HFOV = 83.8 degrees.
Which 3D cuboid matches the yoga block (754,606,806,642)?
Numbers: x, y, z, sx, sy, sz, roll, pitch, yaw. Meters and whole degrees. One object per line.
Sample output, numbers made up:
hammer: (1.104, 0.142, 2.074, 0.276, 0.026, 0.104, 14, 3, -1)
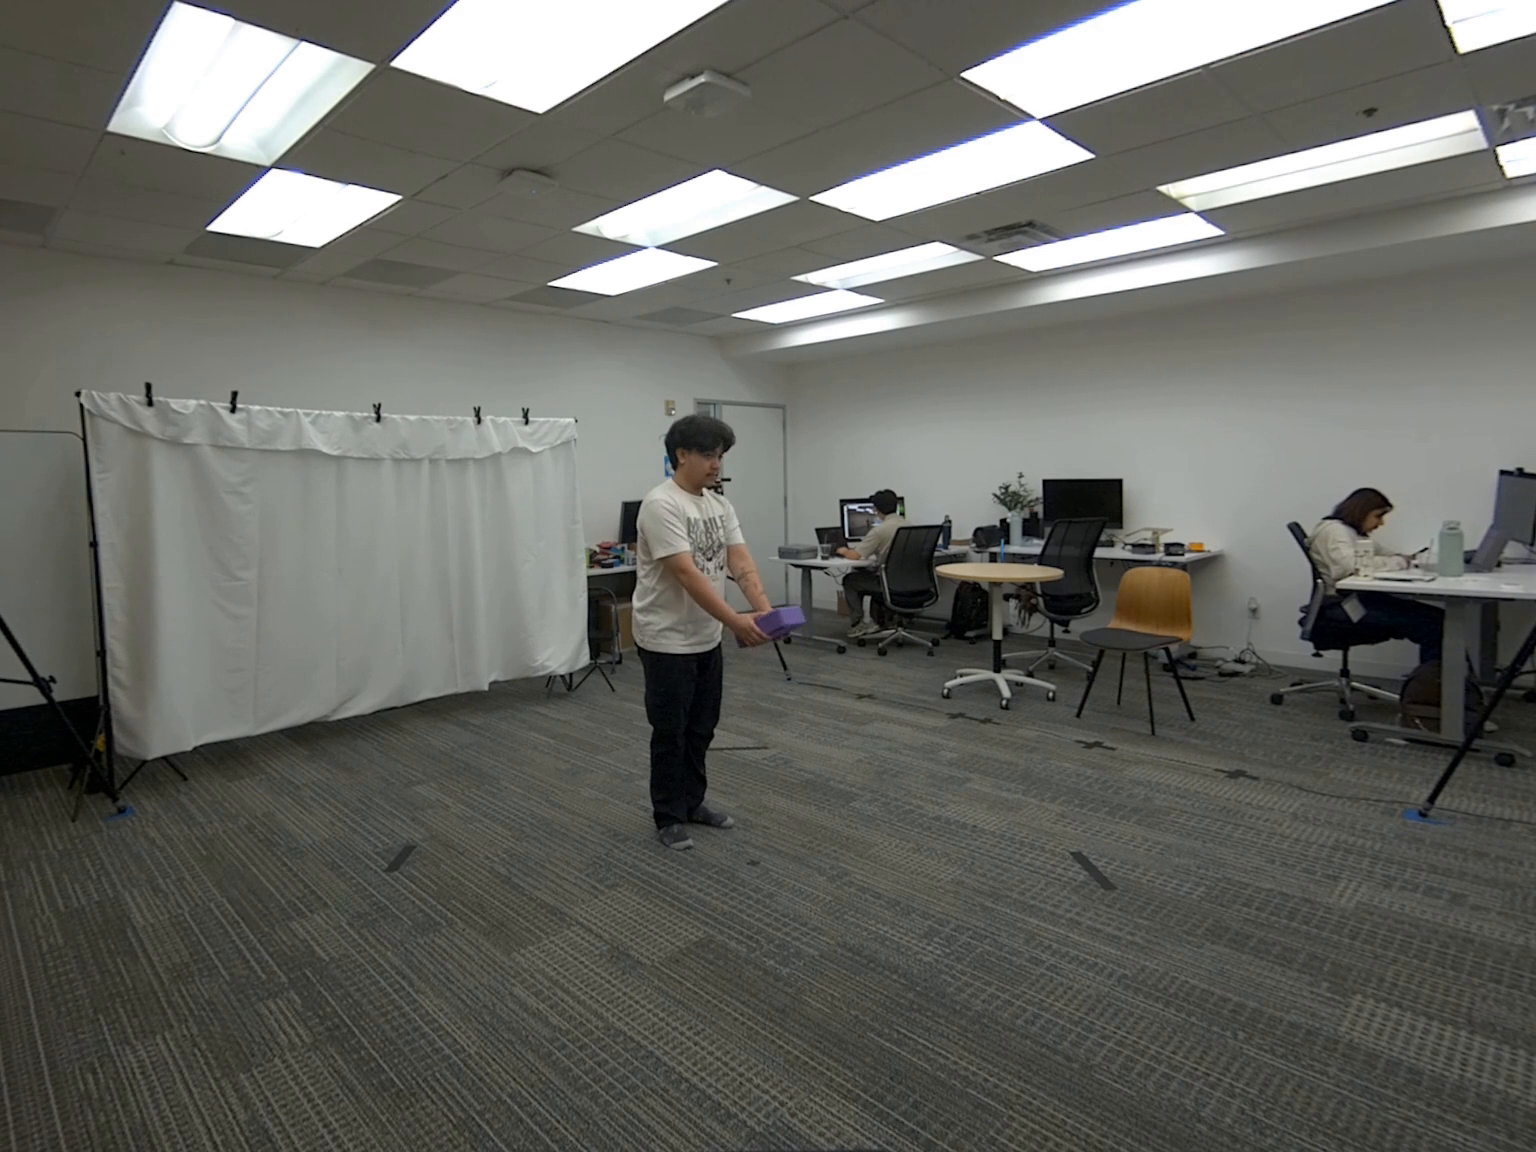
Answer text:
yoga block: (0.006, 0.167, 3.112, 0.232, 0.077, 0.145, -27, -14, 33)
